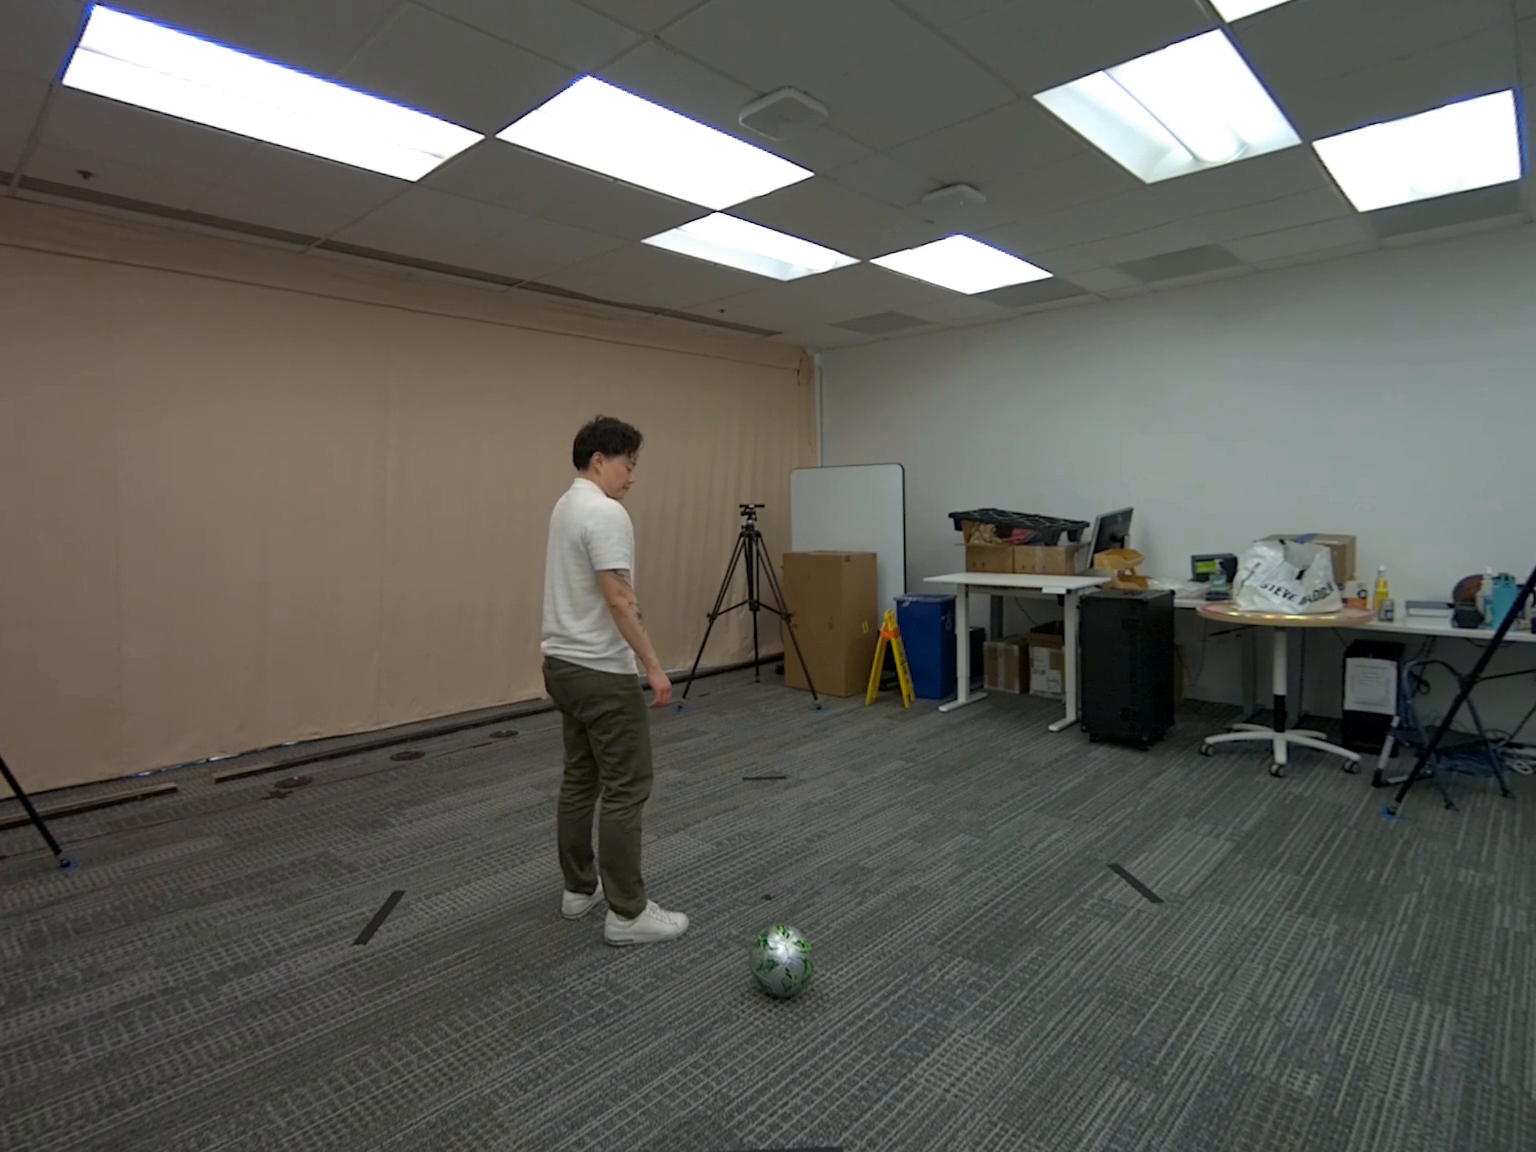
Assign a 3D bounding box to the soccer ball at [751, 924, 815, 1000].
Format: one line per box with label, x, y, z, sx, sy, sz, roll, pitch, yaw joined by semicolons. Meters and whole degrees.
soccer ball;0.045;1.094;2.402;0.187;0.187;0.188;-1;4;-2
